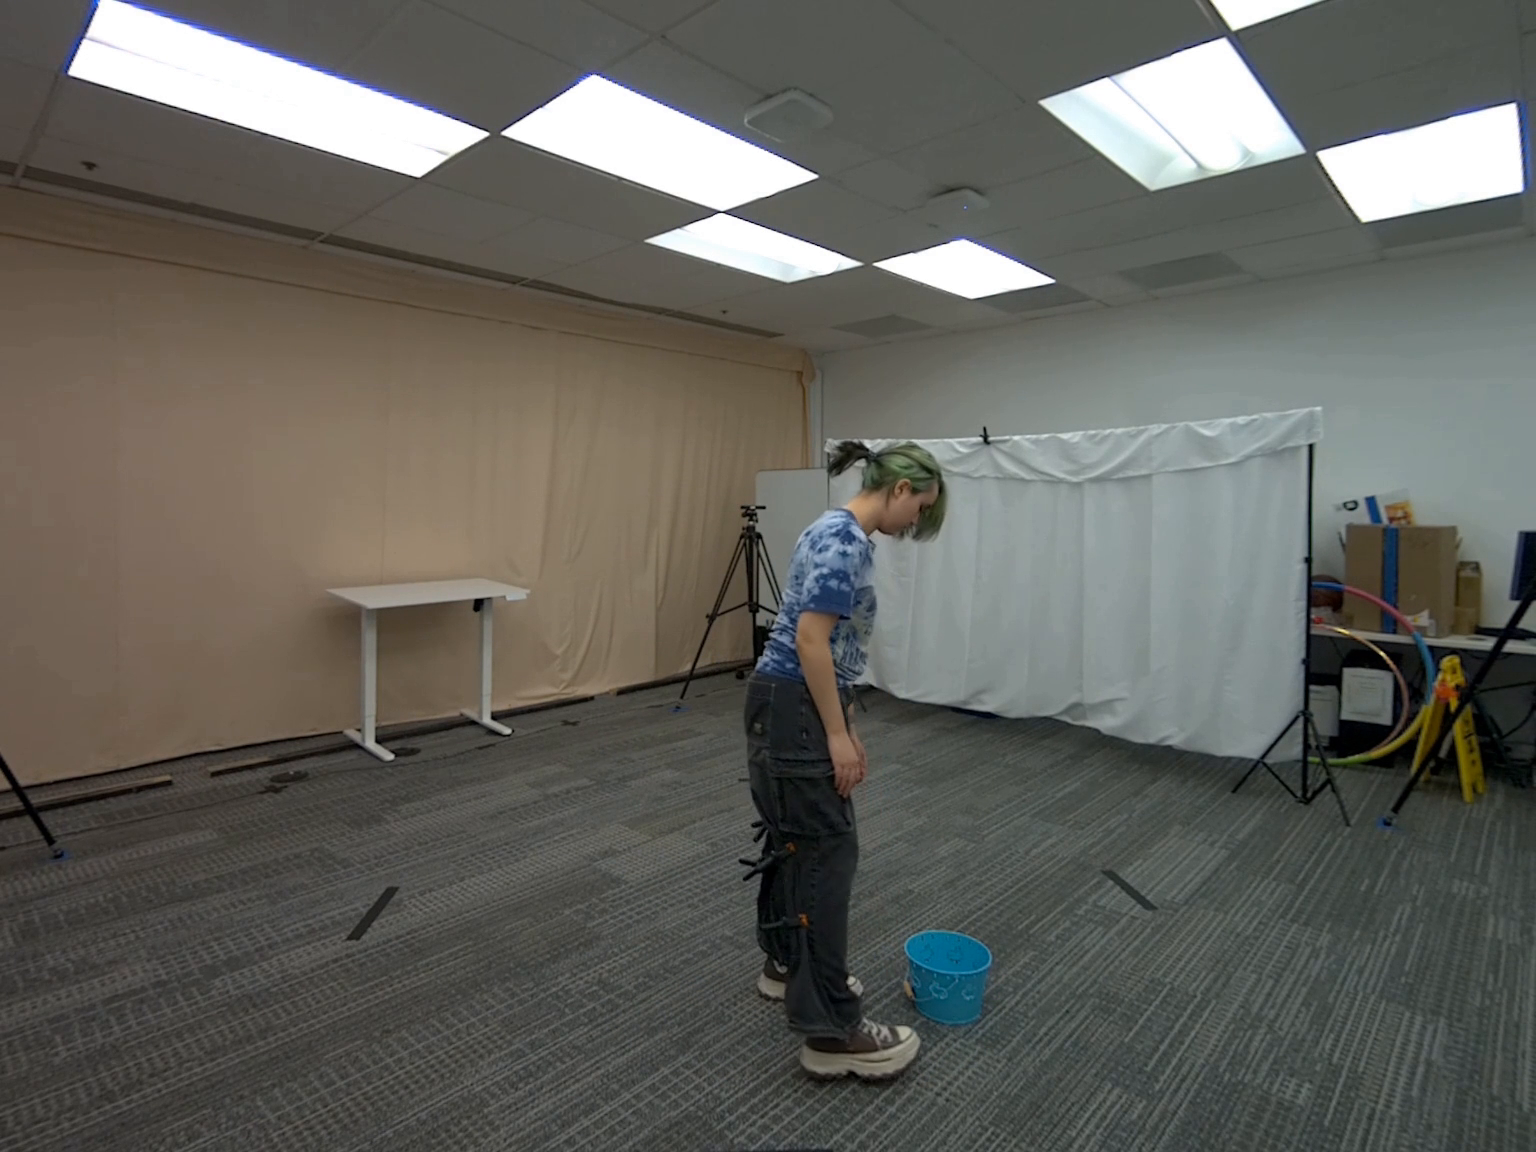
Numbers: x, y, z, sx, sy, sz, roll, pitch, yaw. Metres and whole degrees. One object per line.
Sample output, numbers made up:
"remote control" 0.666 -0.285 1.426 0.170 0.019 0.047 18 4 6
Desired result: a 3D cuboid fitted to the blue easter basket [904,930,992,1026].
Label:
"blue easter basket" 0.502 1.120 2.344 0.243 0.155 0.244 0 4 -2
